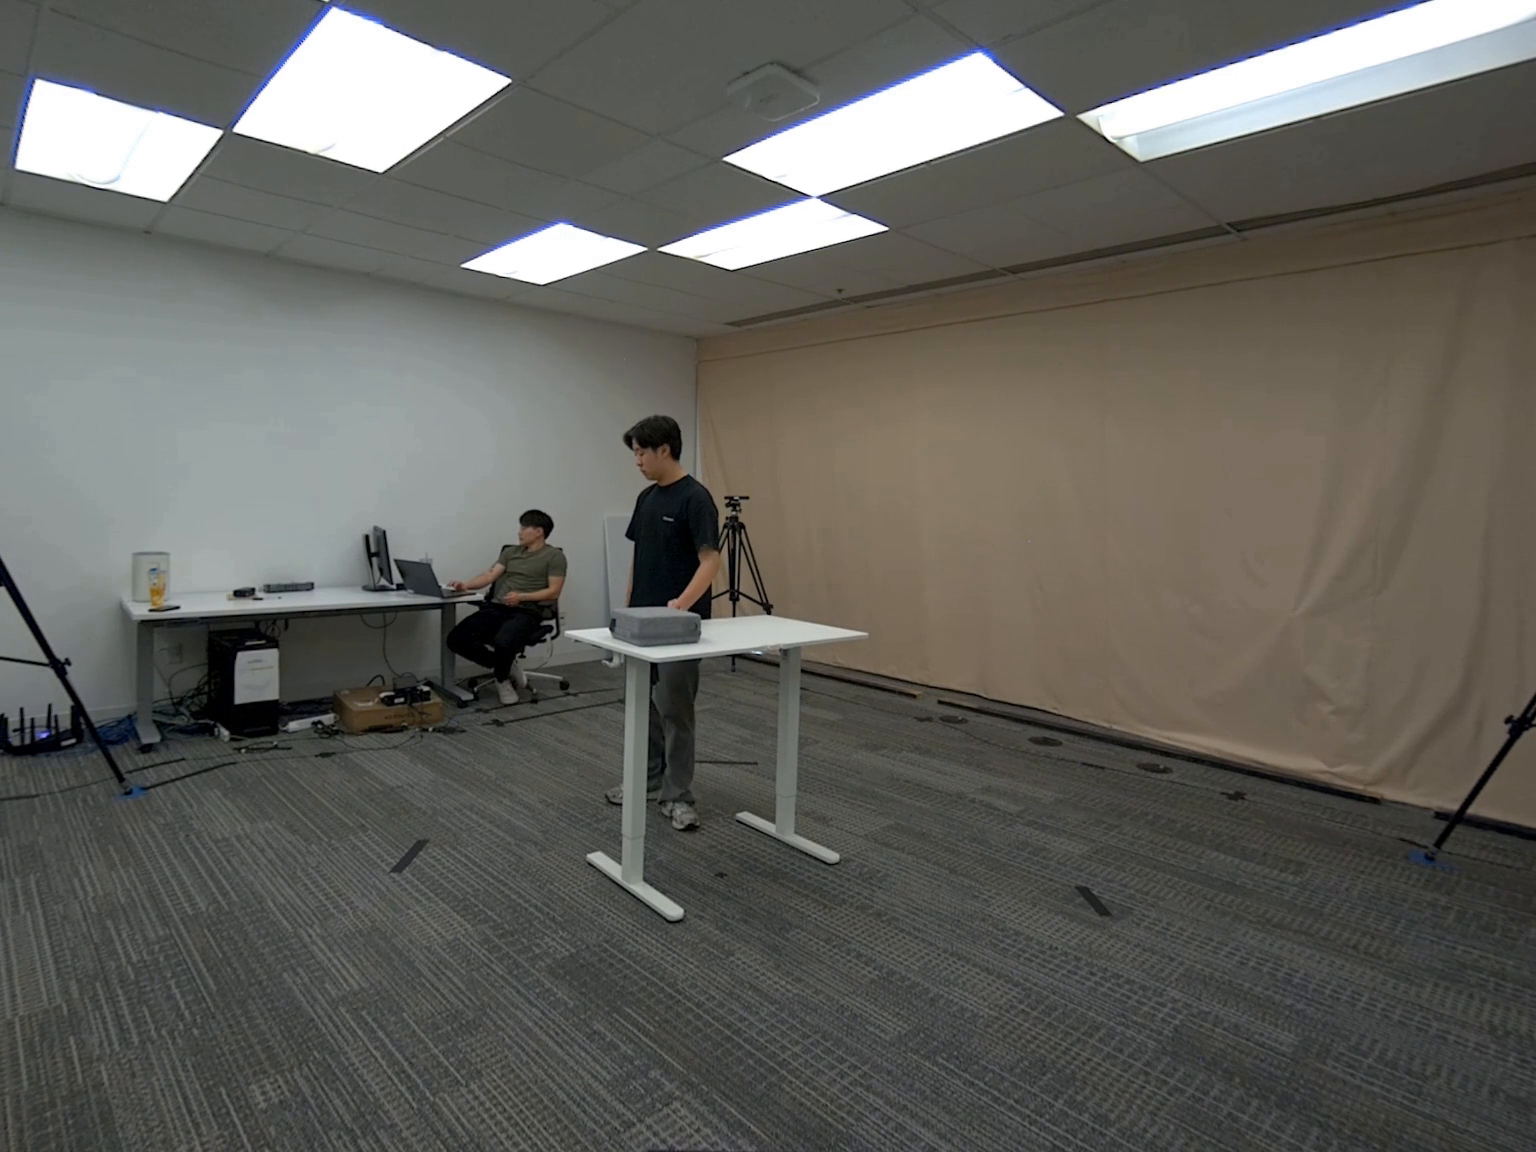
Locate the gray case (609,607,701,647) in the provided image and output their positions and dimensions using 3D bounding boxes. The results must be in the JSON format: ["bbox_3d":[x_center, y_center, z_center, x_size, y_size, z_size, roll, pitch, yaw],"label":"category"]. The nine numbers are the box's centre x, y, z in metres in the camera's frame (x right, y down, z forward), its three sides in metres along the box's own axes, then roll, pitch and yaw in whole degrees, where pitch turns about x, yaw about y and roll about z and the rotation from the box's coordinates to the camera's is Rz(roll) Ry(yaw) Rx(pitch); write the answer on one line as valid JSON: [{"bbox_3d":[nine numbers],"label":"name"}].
[{"bbox_3d":[-0.392,0.175,2.958,0.281,0.103,0.269,-1,5,-34],"label":"gray case"}]
